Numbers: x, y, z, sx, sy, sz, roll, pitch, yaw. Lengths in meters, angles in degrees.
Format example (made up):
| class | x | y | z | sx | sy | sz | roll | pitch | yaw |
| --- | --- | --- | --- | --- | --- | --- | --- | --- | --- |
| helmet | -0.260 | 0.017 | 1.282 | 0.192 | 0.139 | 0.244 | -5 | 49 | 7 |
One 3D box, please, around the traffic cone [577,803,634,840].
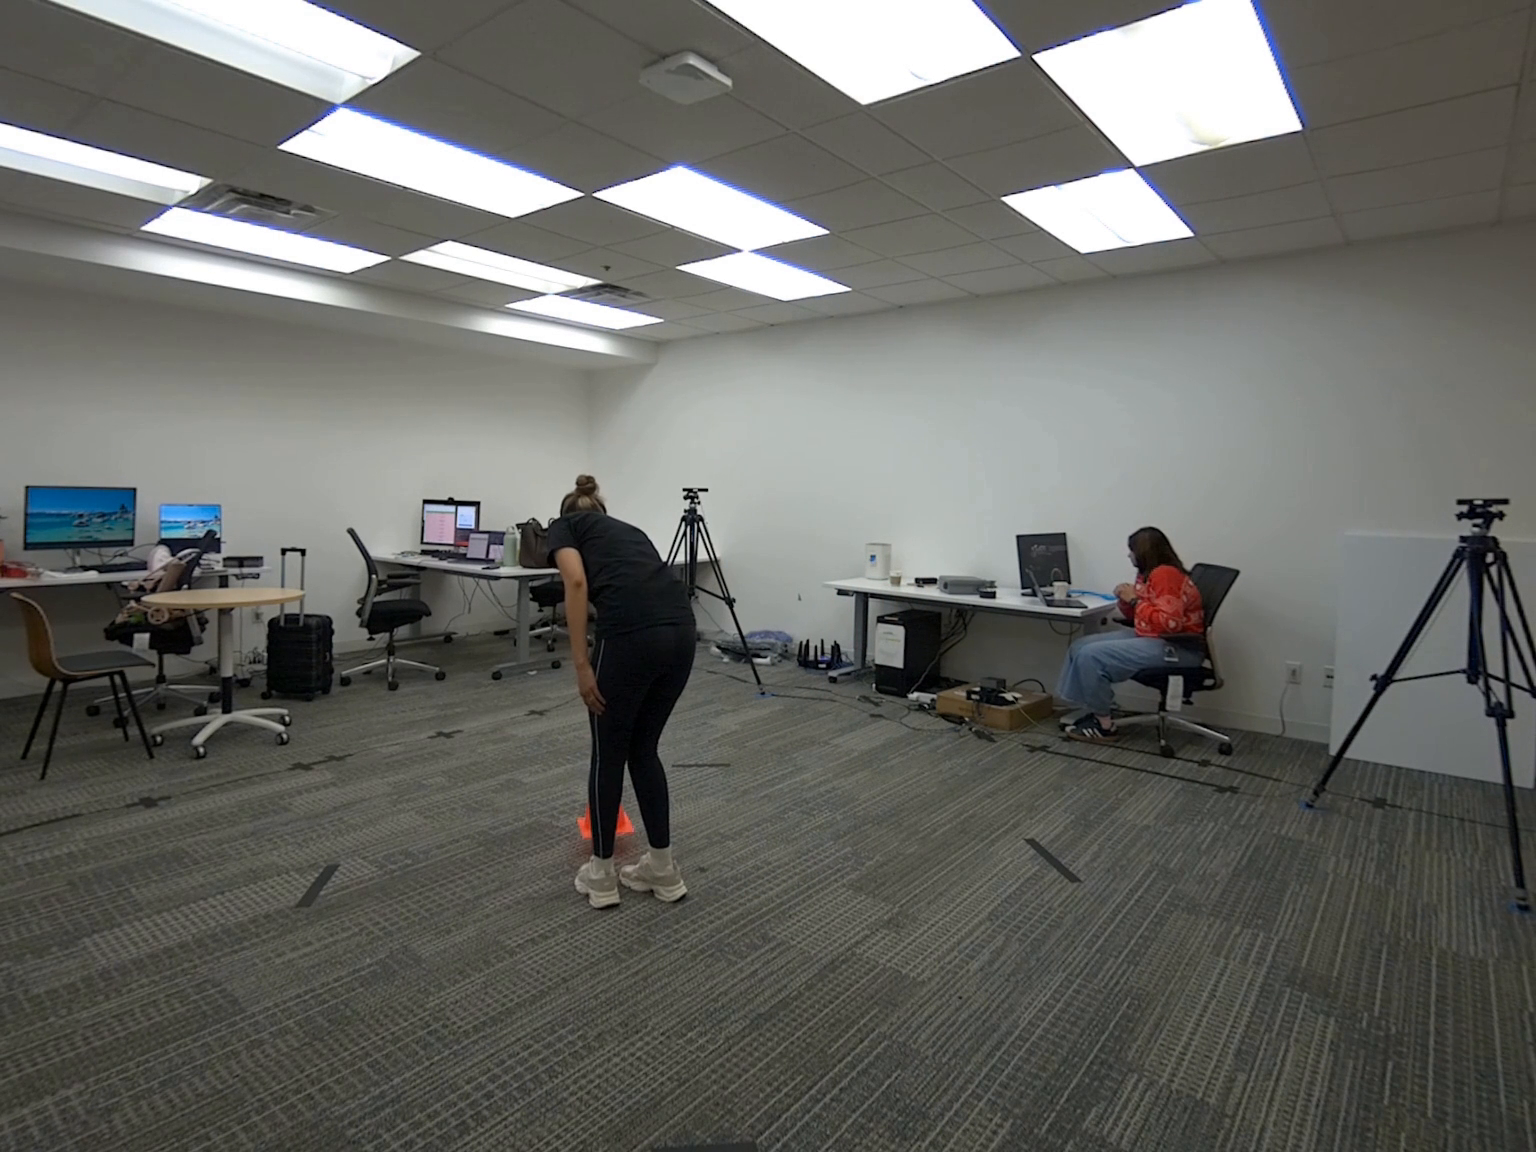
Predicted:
| class | x | y | z | sx | sy | sz | roll | pitch | yaw |
| --- | --- | --- | --- | --- | --- | --- | --- | --- | --- |
| traffic cone | -0.642 | 0.768 | 3.285 | 0.201 | 0.383 | 0.207 | 1 | 2 | -17 |
